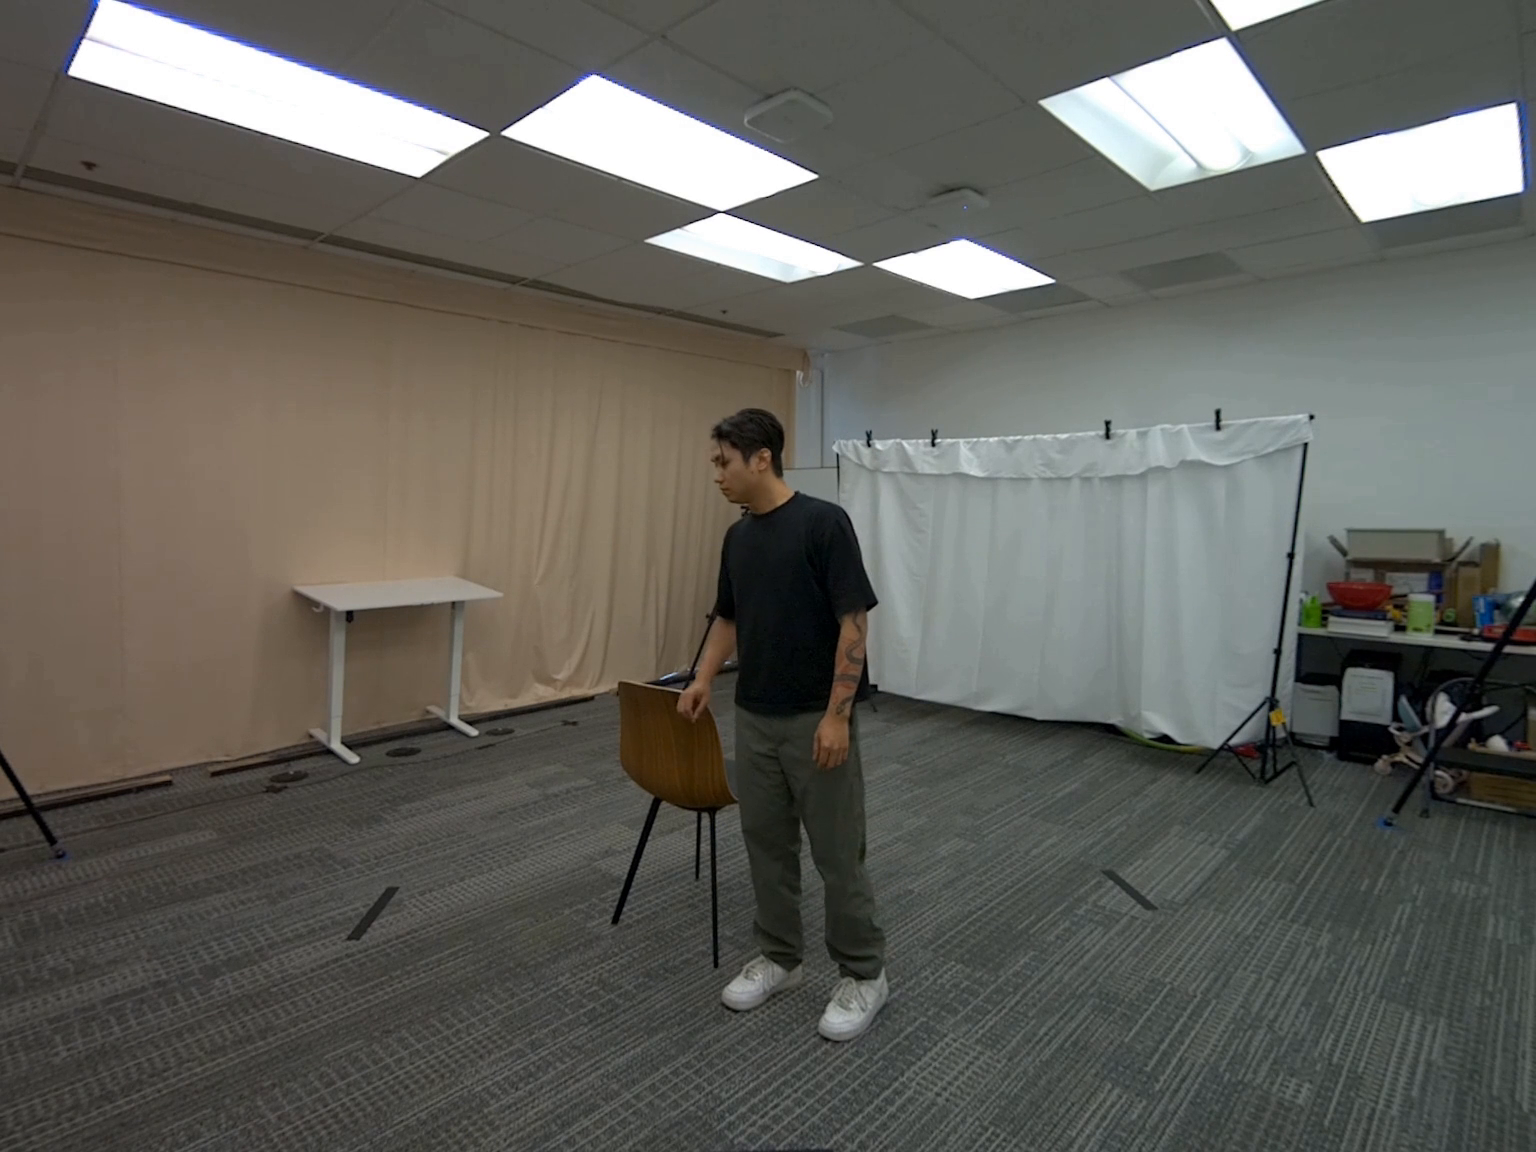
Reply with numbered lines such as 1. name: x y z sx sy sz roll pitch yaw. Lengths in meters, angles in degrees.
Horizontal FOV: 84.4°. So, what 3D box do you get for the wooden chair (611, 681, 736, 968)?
1. wooden chair: -0.208 0.730 2.826 0.493 0.873 0.509 2 8 36
